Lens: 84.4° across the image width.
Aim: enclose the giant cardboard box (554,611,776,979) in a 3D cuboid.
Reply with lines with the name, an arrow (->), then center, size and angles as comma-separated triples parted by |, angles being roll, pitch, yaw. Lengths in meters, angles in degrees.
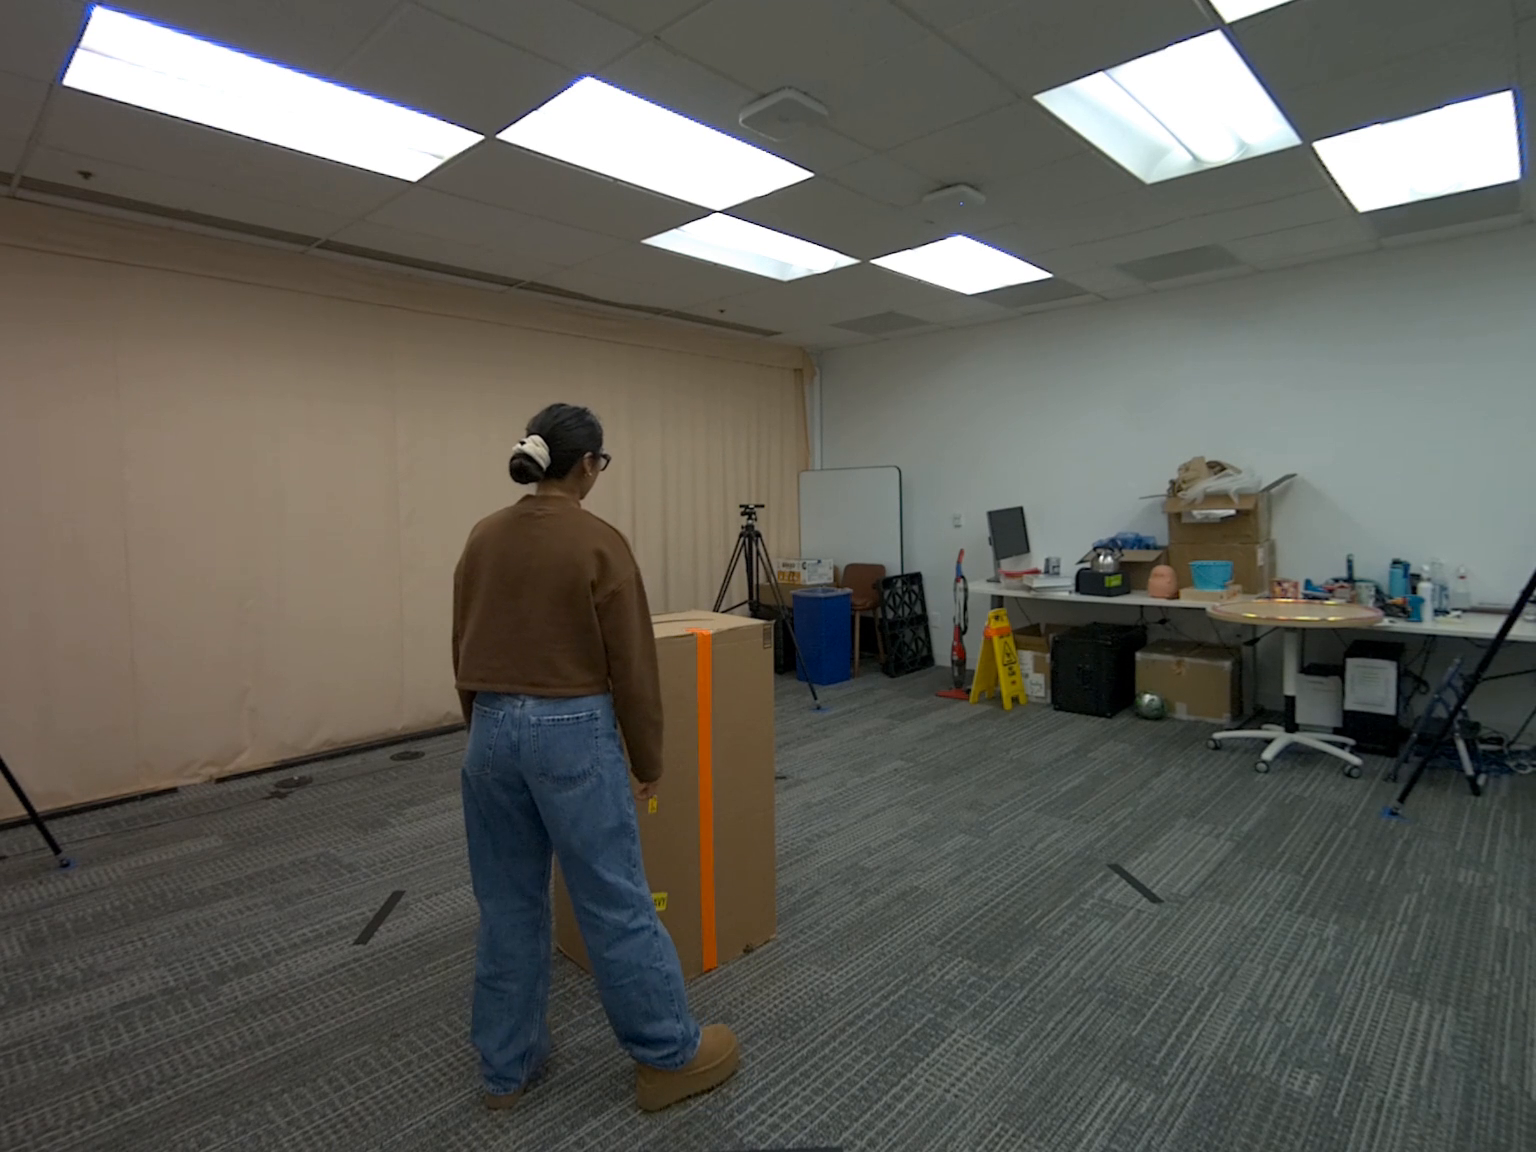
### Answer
giant cardboard box -> -0.324, 0.666, 2.663 | 0.560, 1.024, 0.440 | -3, 4, -42
